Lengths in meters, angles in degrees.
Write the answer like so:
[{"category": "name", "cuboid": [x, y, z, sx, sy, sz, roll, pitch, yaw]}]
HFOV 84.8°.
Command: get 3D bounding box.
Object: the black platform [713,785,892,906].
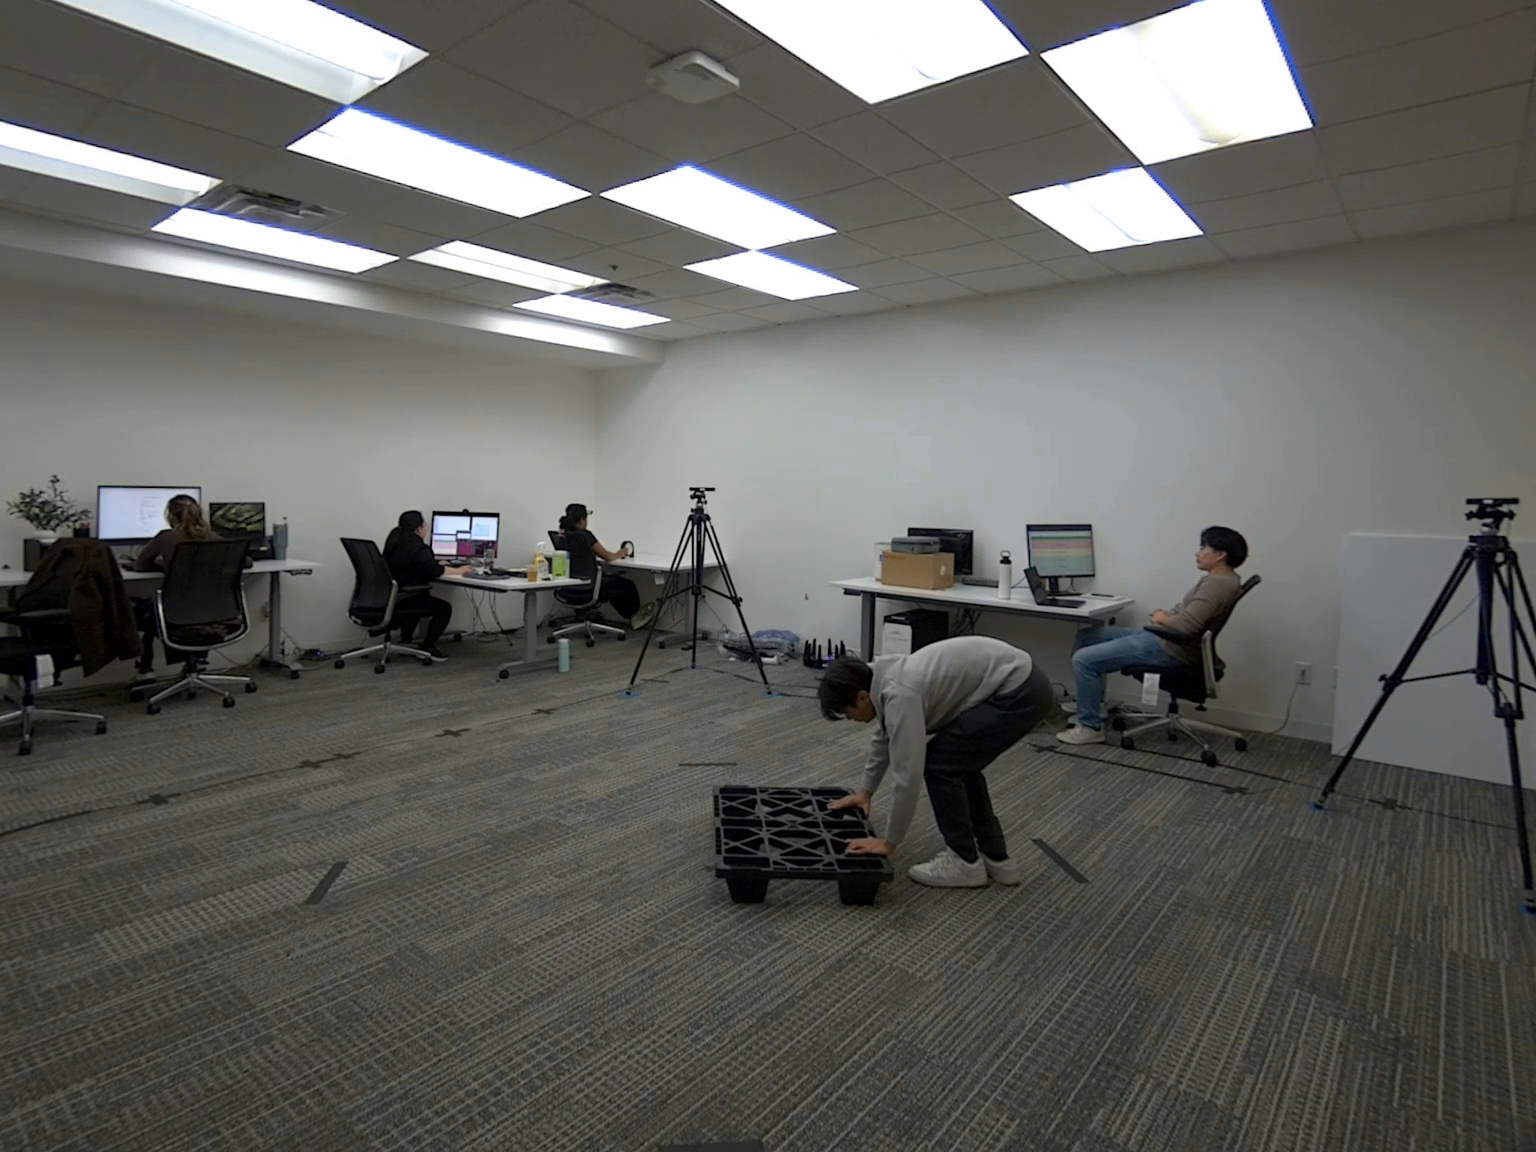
[{"category": "black platform", "cuboid": [0.078, 0.993, 3.213, 0.604, 0.143, 0.810, 0, 5, -3]}]
